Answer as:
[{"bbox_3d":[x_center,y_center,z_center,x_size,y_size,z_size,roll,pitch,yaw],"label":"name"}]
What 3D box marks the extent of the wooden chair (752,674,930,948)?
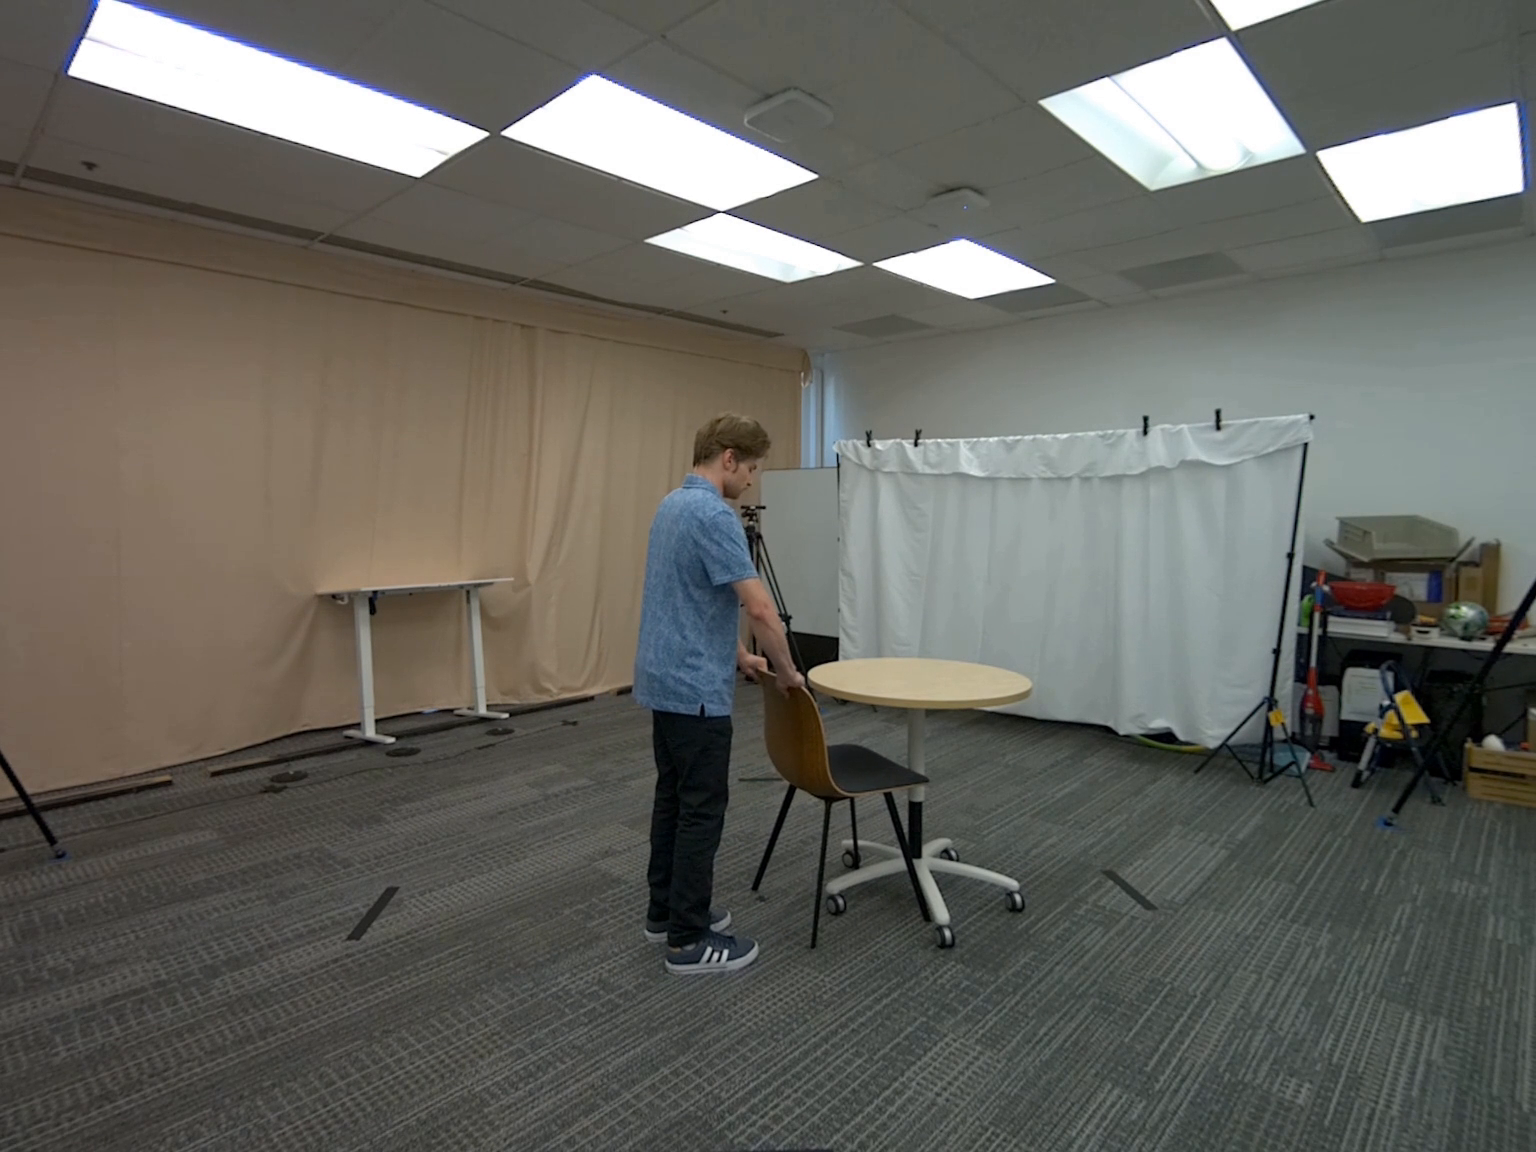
[{"bbox_3d":[0.251,0.722,2.905,0.512,0.874,0.490,-5,5,-24],"label":"wooden chair"}]
